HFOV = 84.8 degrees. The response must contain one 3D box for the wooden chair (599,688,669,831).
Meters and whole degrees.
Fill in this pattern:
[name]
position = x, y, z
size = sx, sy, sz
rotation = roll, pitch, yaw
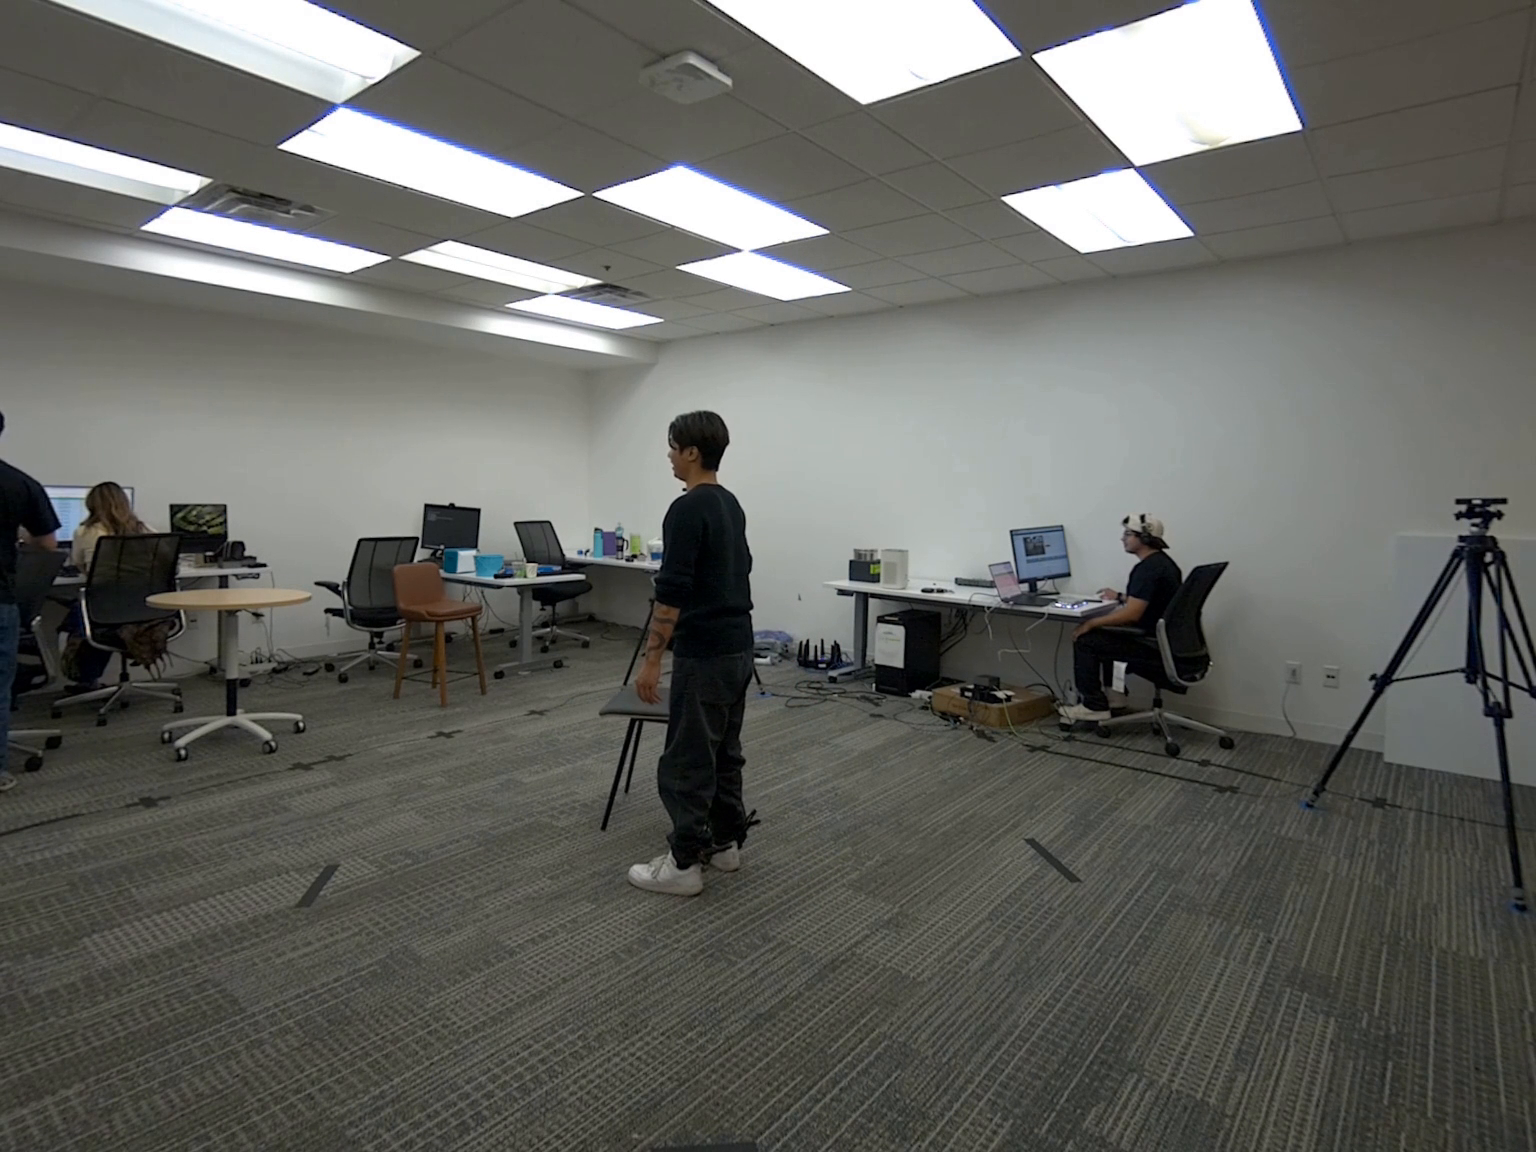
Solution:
[wooden chair]
position = -0.453, 0.590, 3.616
size = 0.526, 0.875, 0.477
rotation = 5, 3, 3
